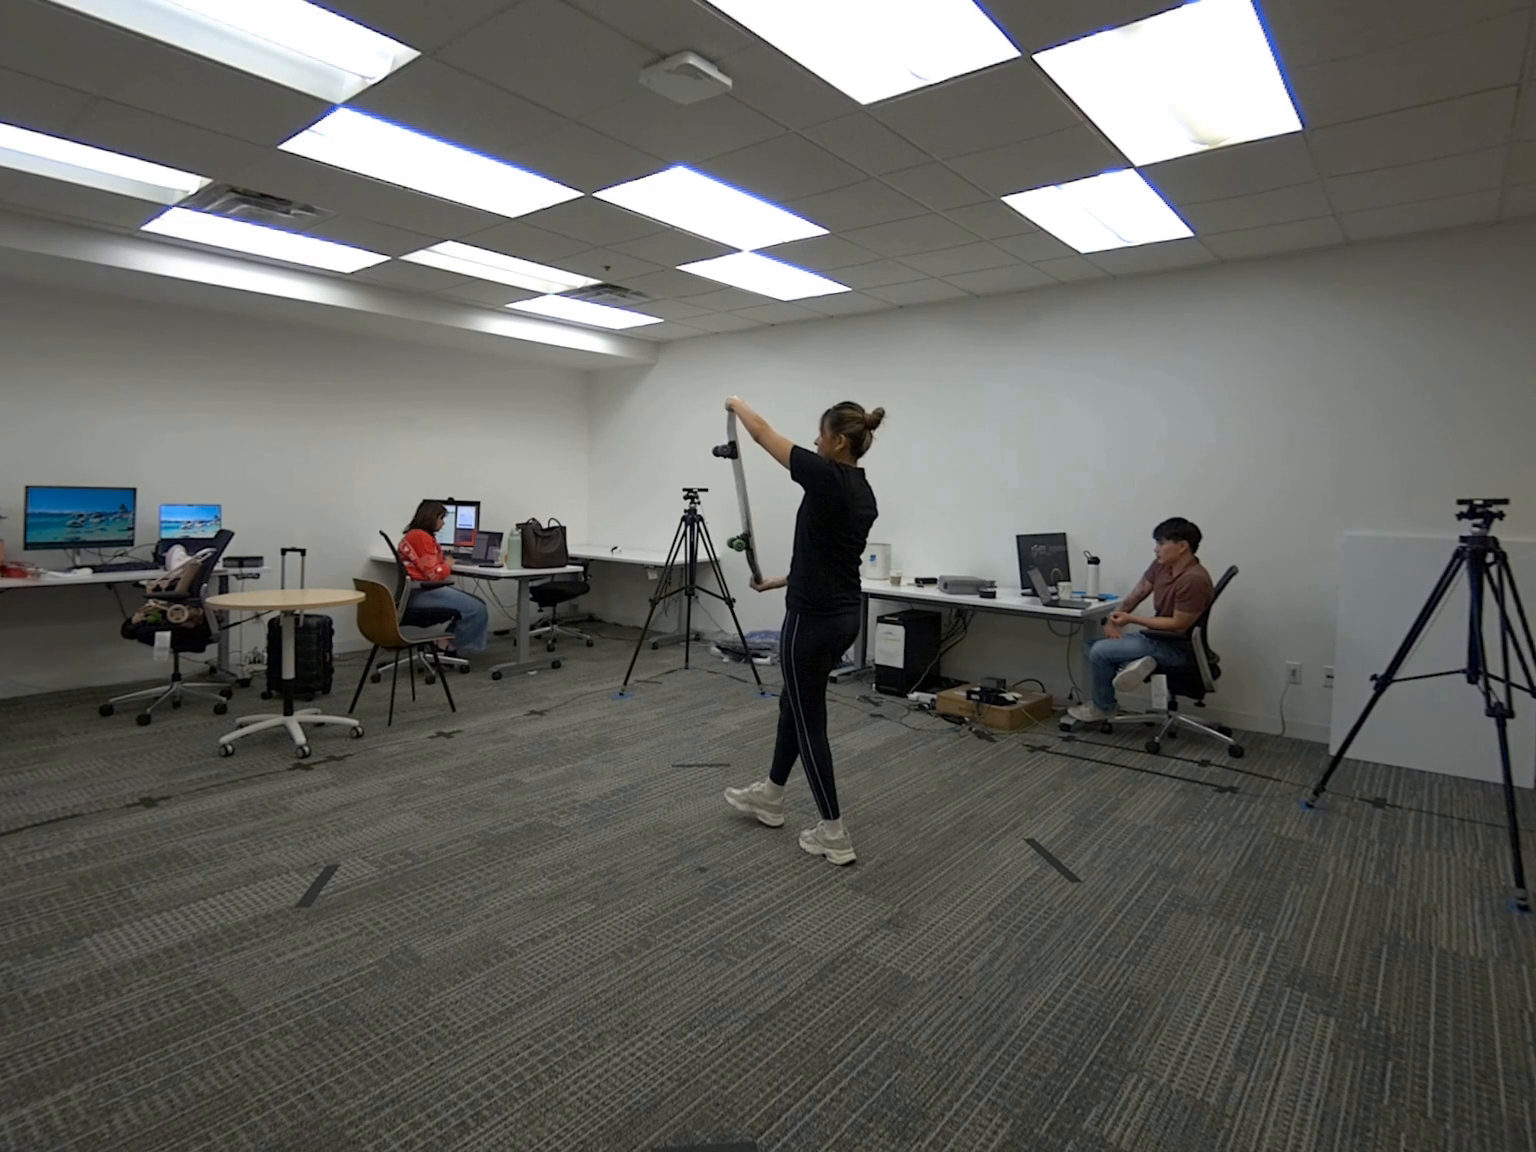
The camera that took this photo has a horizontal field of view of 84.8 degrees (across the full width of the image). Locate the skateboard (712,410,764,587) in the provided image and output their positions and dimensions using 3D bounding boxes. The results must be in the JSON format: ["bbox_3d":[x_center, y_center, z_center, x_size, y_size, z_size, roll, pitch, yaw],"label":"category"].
[{"bbox_3d":[-0.149,-0.339,3.586,0.109,0.781,0.196,-10,5,-11],"label":"skateboard"}]
